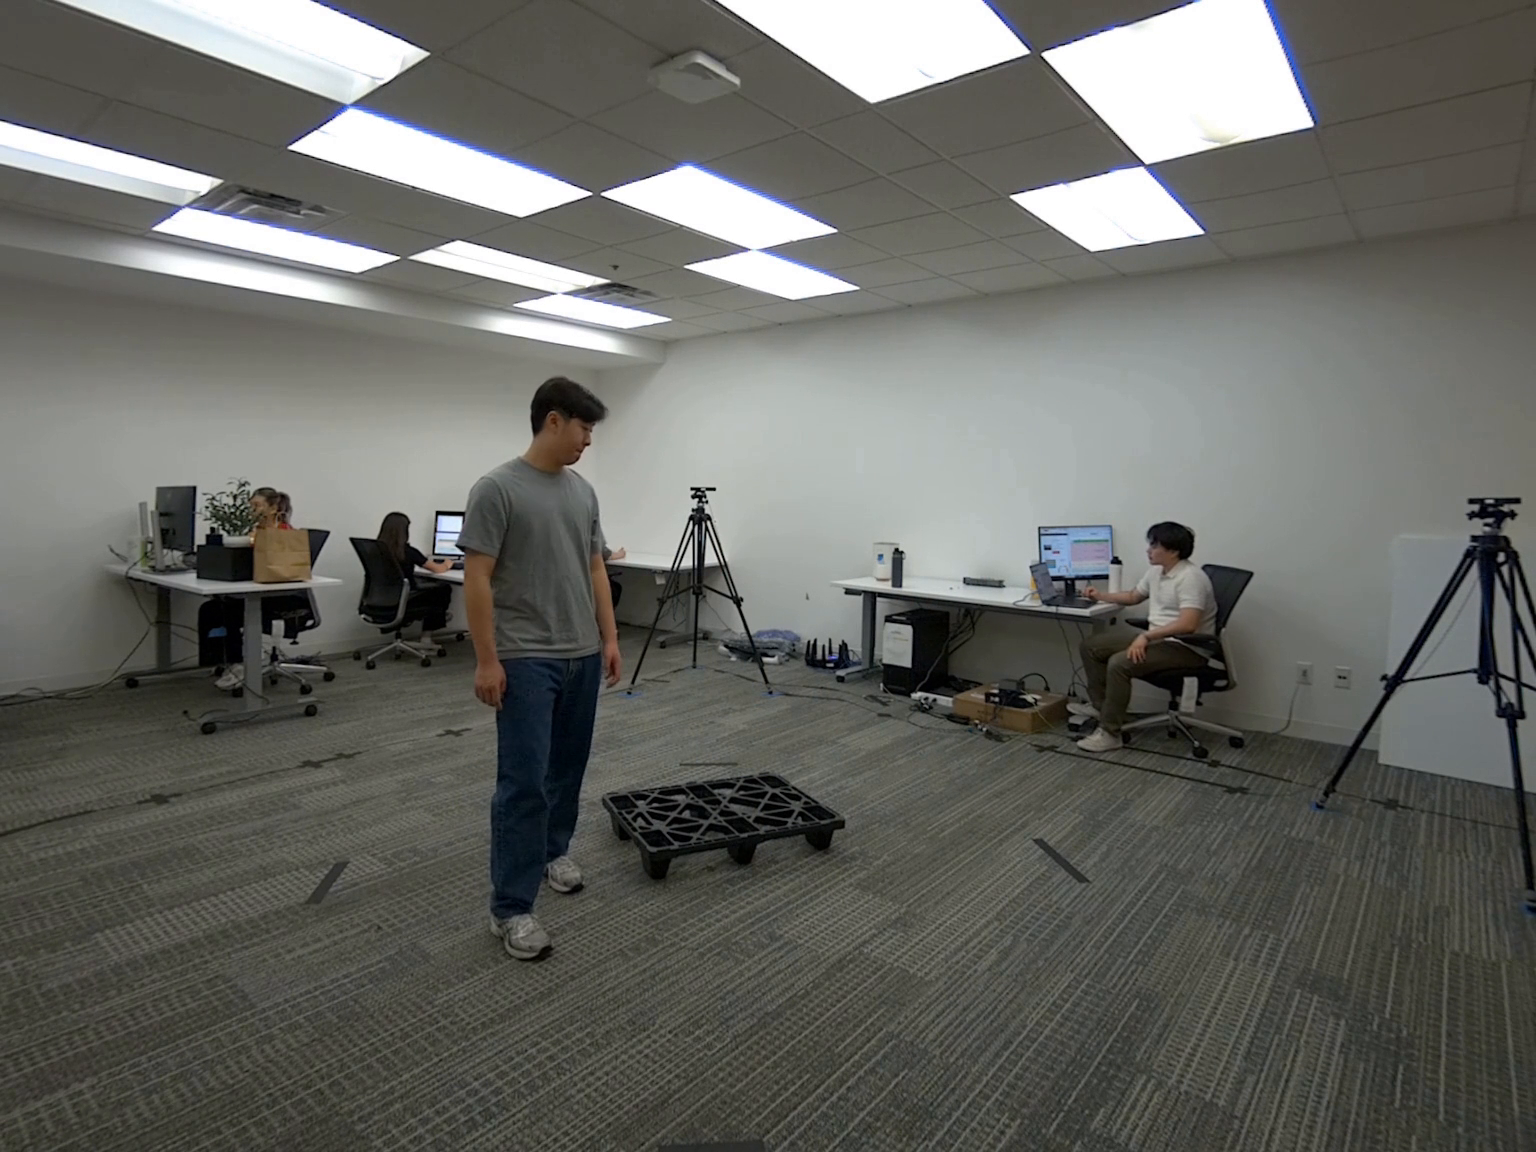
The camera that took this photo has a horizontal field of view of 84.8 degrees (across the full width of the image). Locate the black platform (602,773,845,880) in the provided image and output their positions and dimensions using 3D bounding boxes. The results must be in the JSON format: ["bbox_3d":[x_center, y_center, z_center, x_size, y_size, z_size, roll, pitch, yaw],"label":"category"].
[{"bbox_3d":[-0.194,0.974,3.359,0.786,0.143,0.622,-2,7,-26],"label":"black platform"}]
